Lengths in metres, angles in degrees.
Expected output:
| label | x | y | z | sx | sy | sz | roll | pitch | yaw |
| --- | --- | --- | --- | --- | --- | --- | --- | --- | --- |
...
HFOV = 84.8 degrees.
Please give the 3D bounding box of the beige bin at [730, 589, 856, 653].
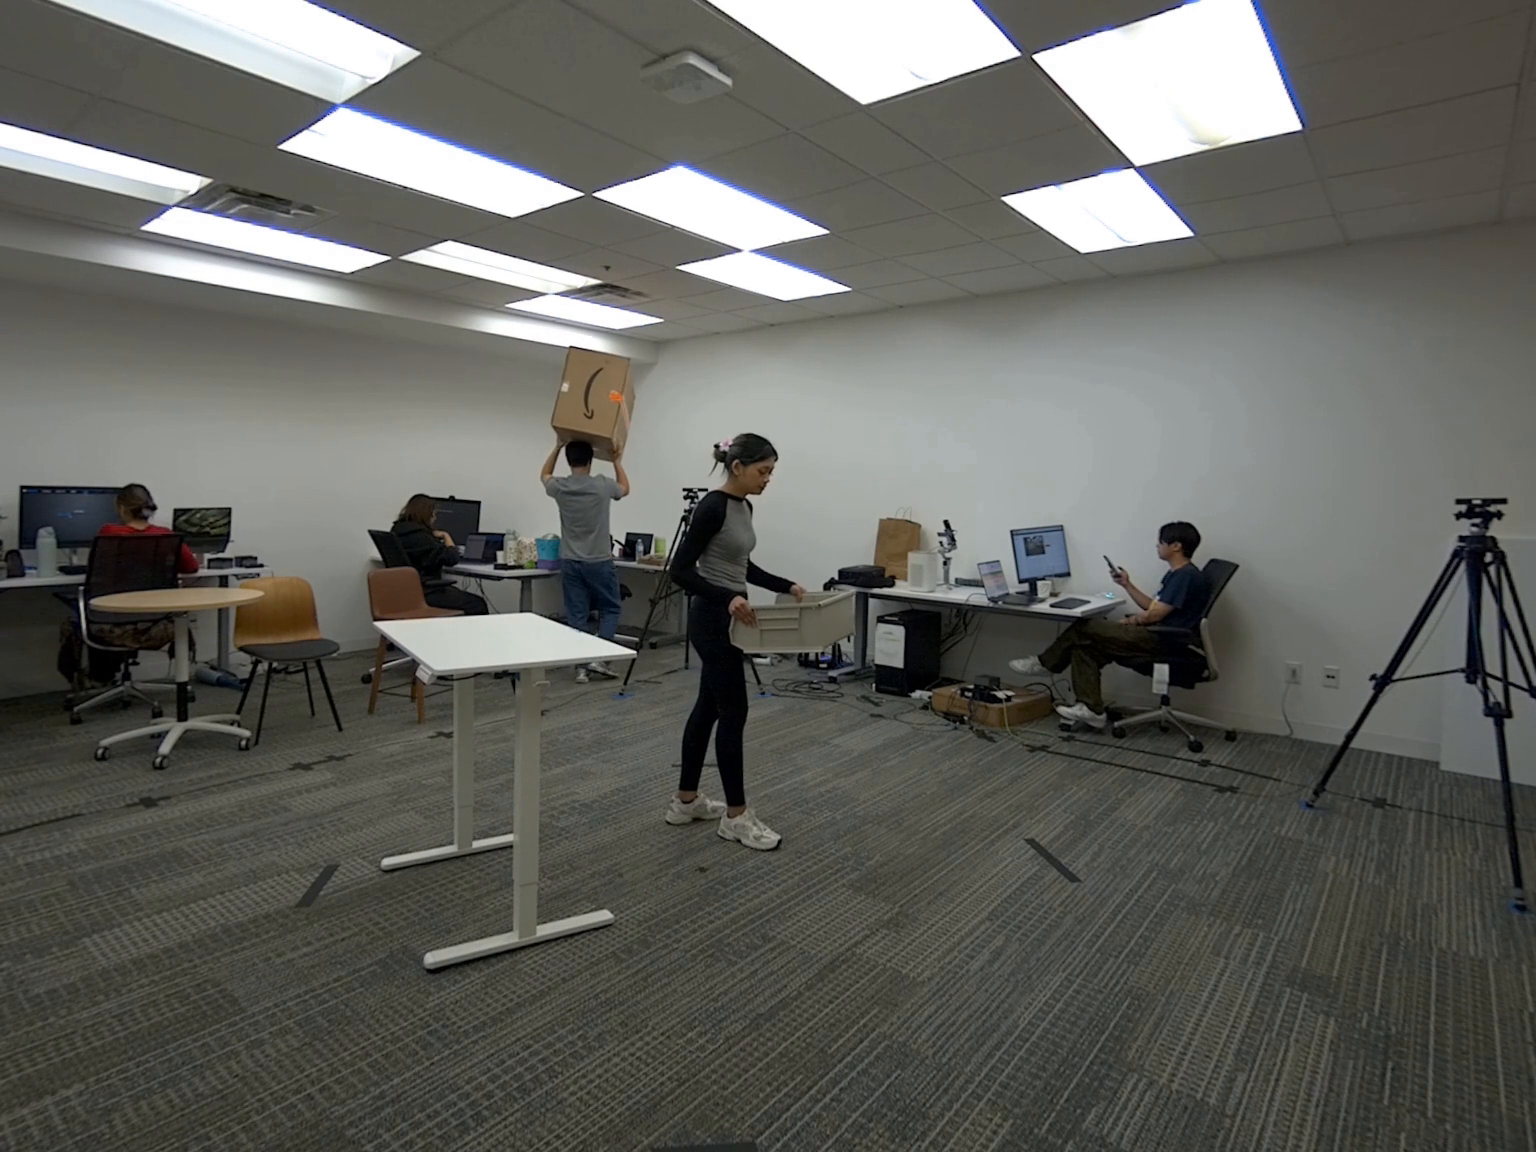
| label | x | y | z | sx | sy | sz | roll | pitch | yaw |
| --- | --- | --- | --- | --- | --- | --- | --- | --- | --- |
| beige bin | 0.094 | 0.166 | 3.308 | 0.386 | 0.188 | 0.413 | -1 | 4 | 25 |
